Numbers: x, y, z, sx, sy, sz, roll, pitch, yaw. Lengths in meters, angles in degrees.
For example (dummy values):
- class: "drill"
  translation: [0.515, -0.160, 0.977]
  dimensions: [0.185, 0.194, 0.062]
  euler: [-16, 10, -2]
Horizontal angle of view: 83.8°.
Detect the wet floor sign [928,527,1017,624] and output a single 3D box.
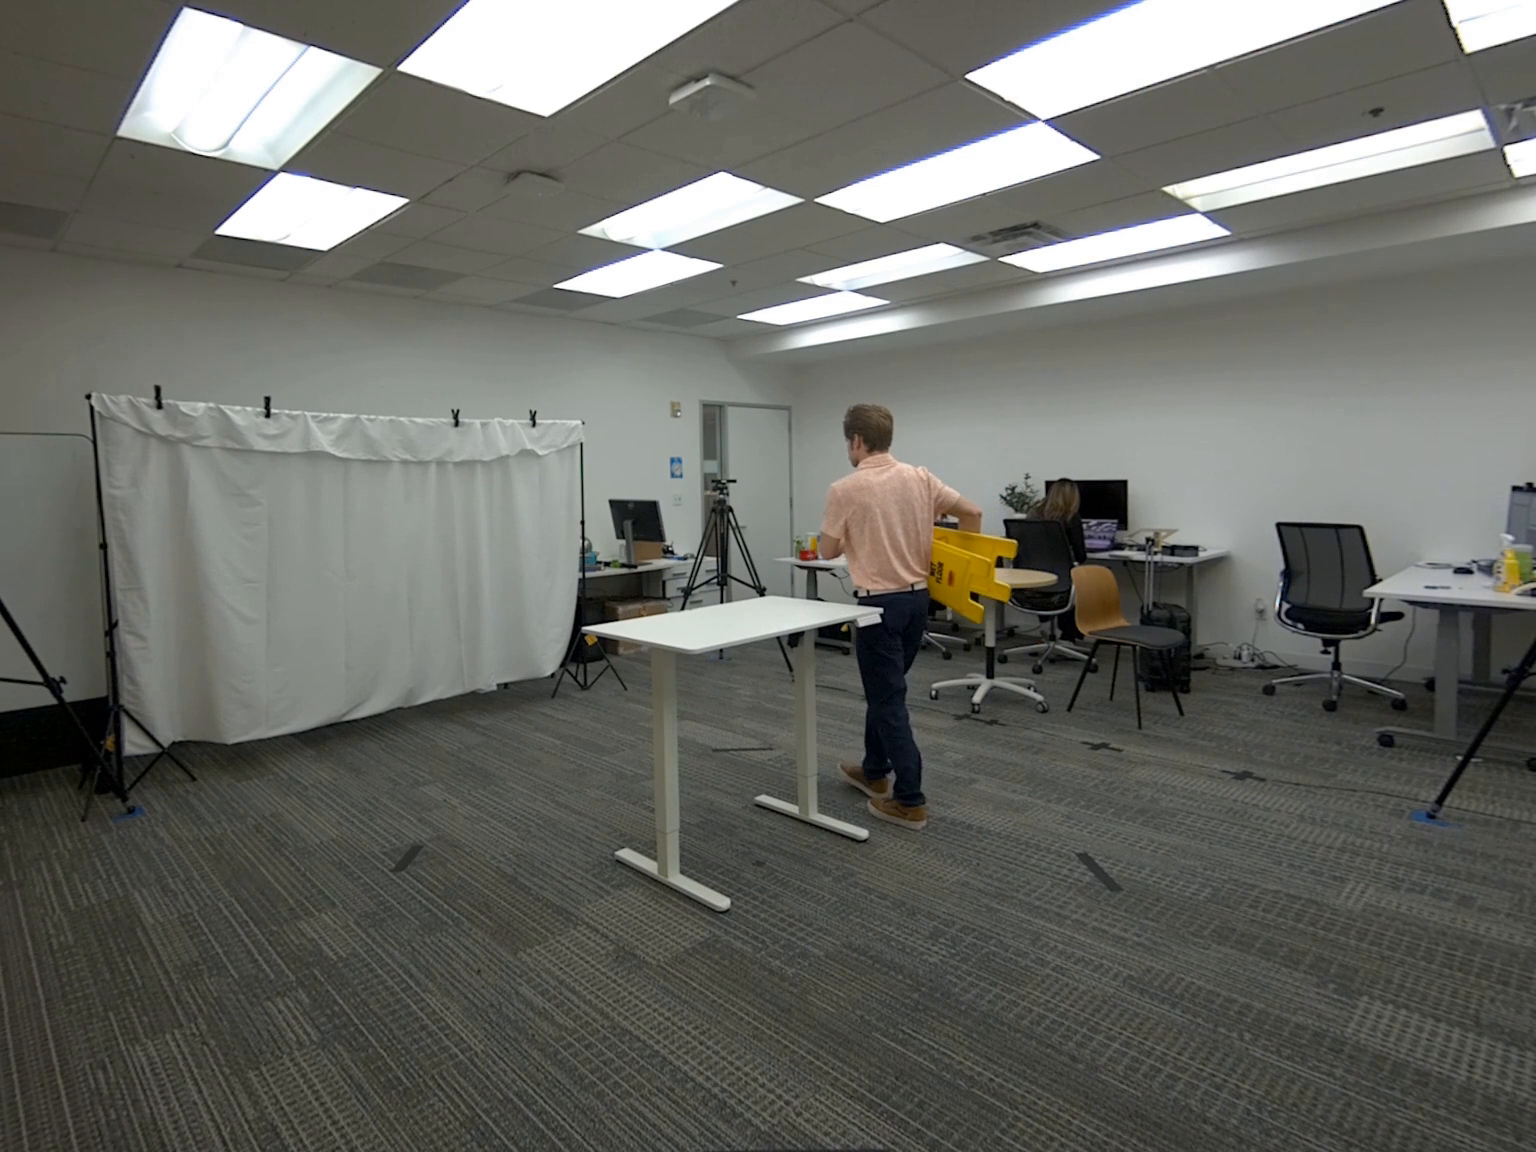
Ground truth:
- class: "wet floor sign"
  translation: [0.683, -0.069, 3.611]
  dimensions: [0.670, 0.276, 0.285]
  euler: [23, 33, 38]
